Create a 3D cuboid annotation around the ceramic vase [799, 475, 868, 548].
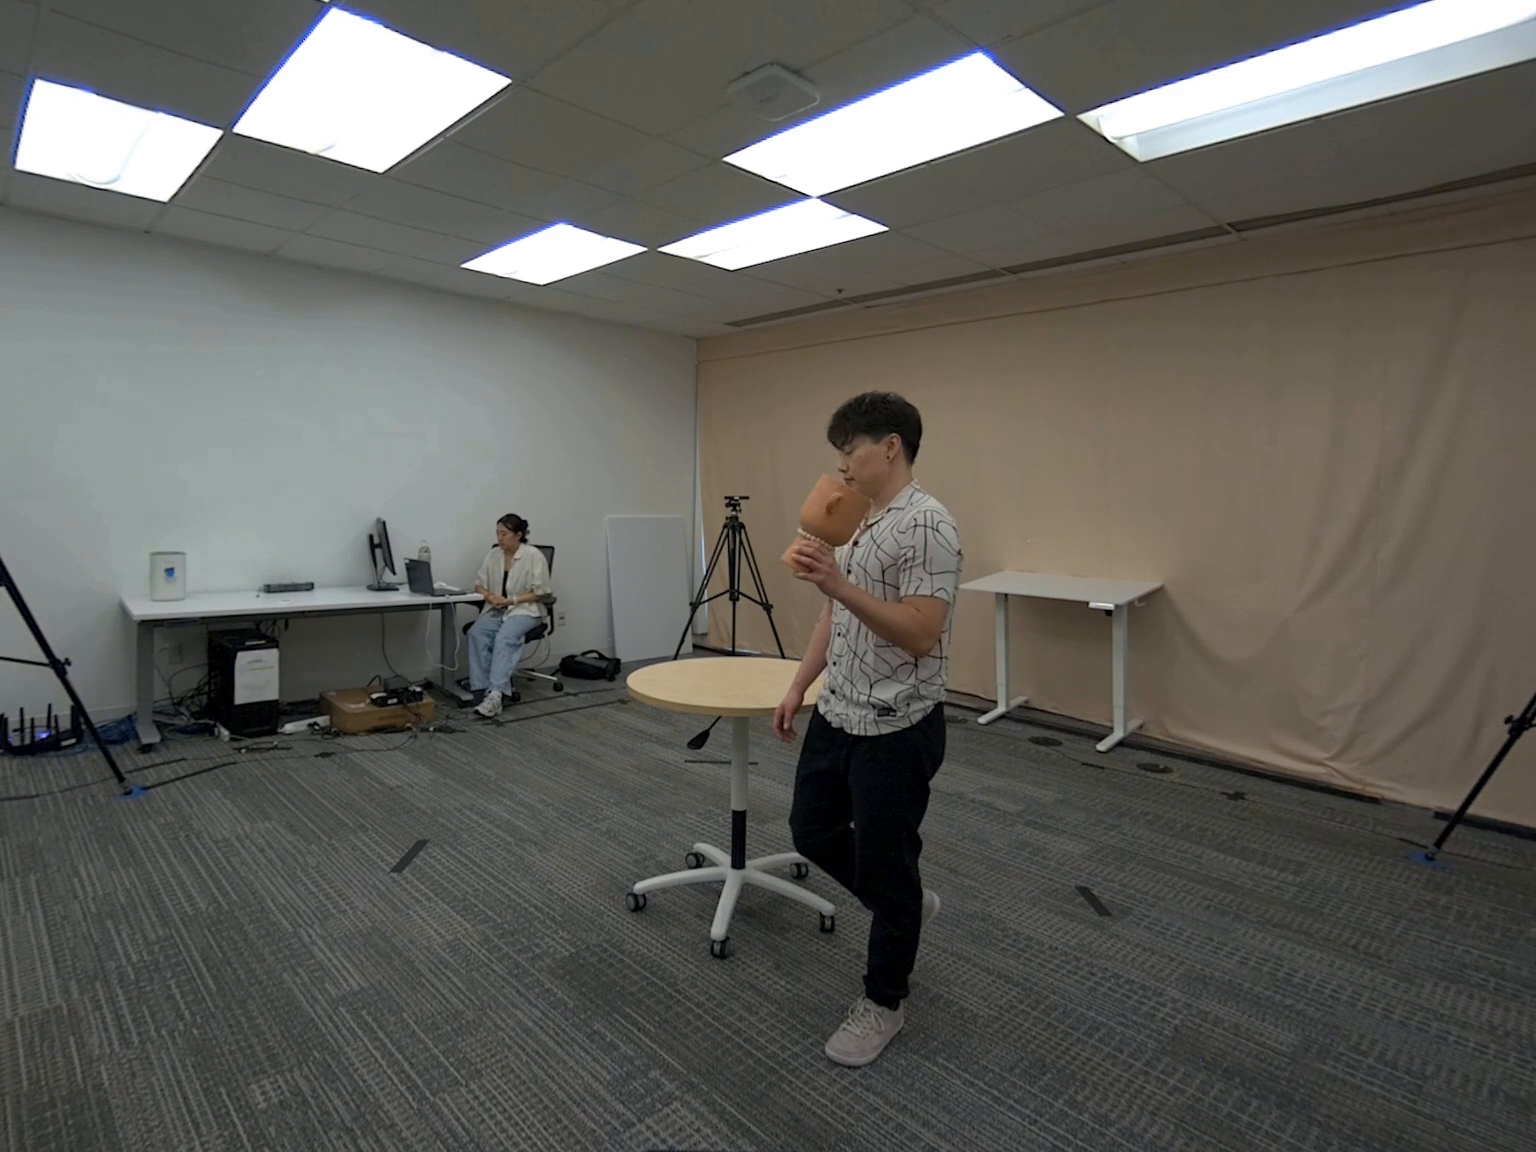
[{"bbox_3d":[0.125,-0.103,1.912,0.154,0.219,0.139,28,4,-37],"label":"ceramic vase"}]
